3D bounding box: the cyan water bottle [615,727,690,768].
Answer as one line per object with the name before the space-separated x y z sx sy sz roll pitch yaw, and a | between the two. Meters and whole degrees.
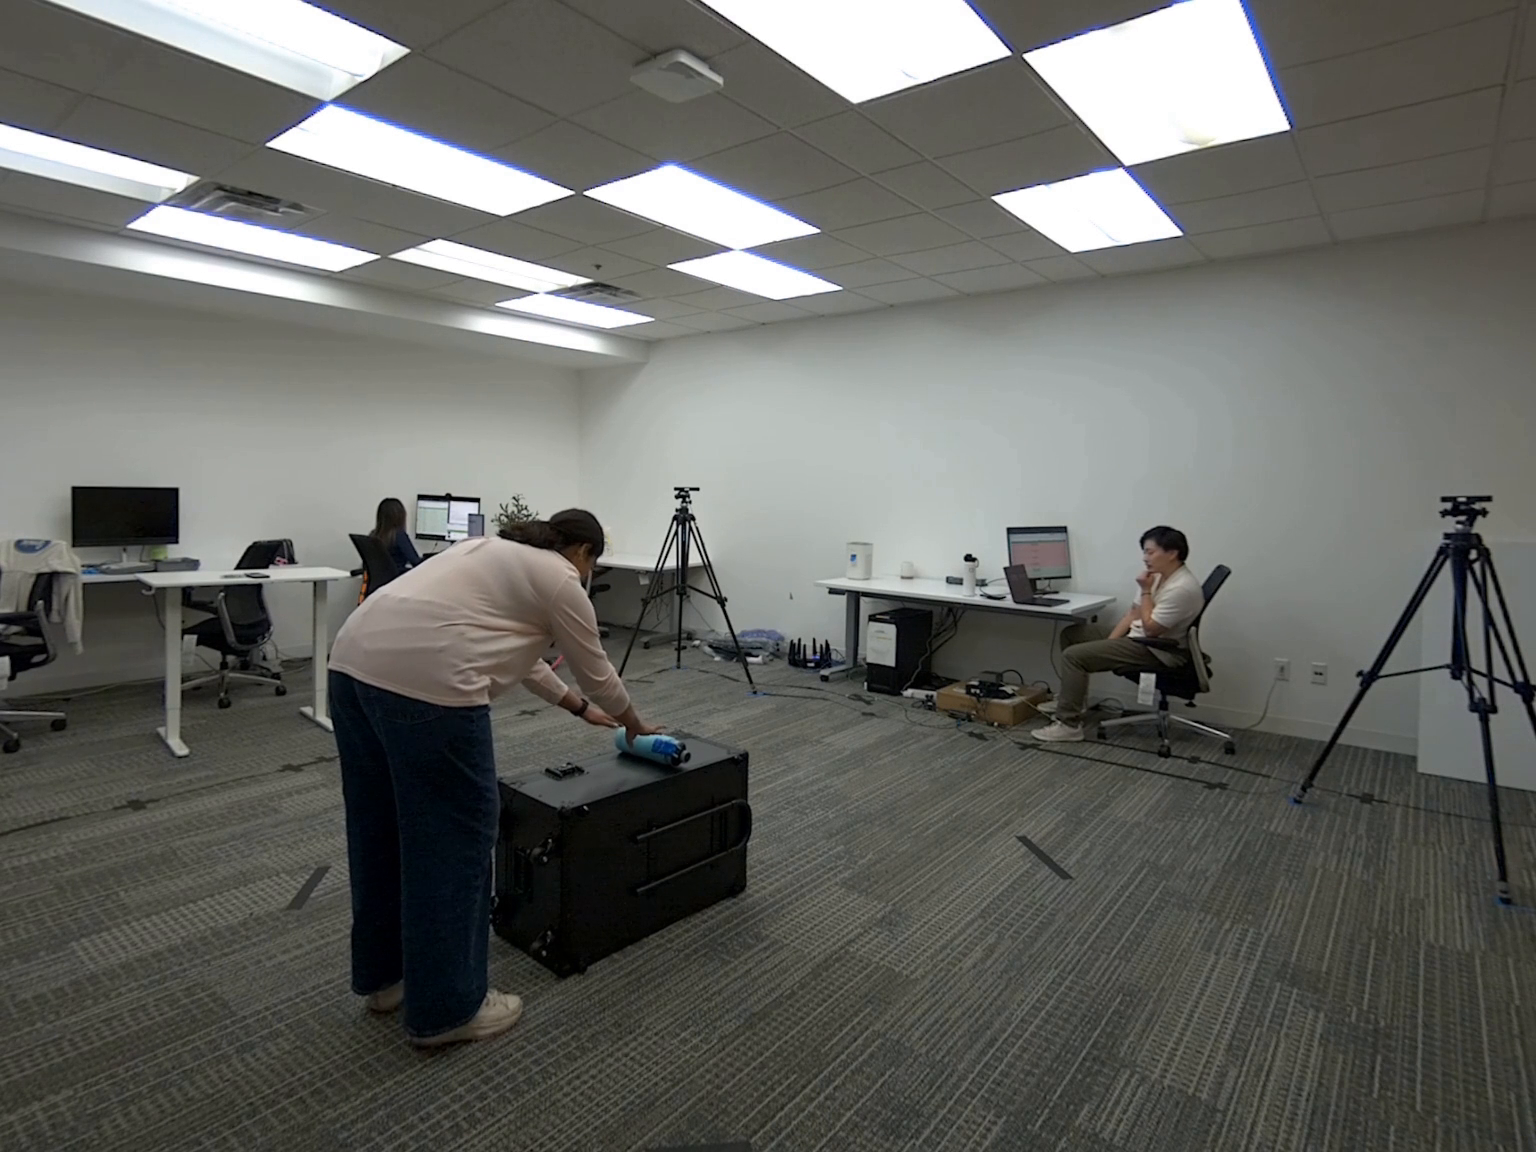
cyan water bottle | -0.391 0.560 2.826 0.293 0.092 0.089 6 6 38
